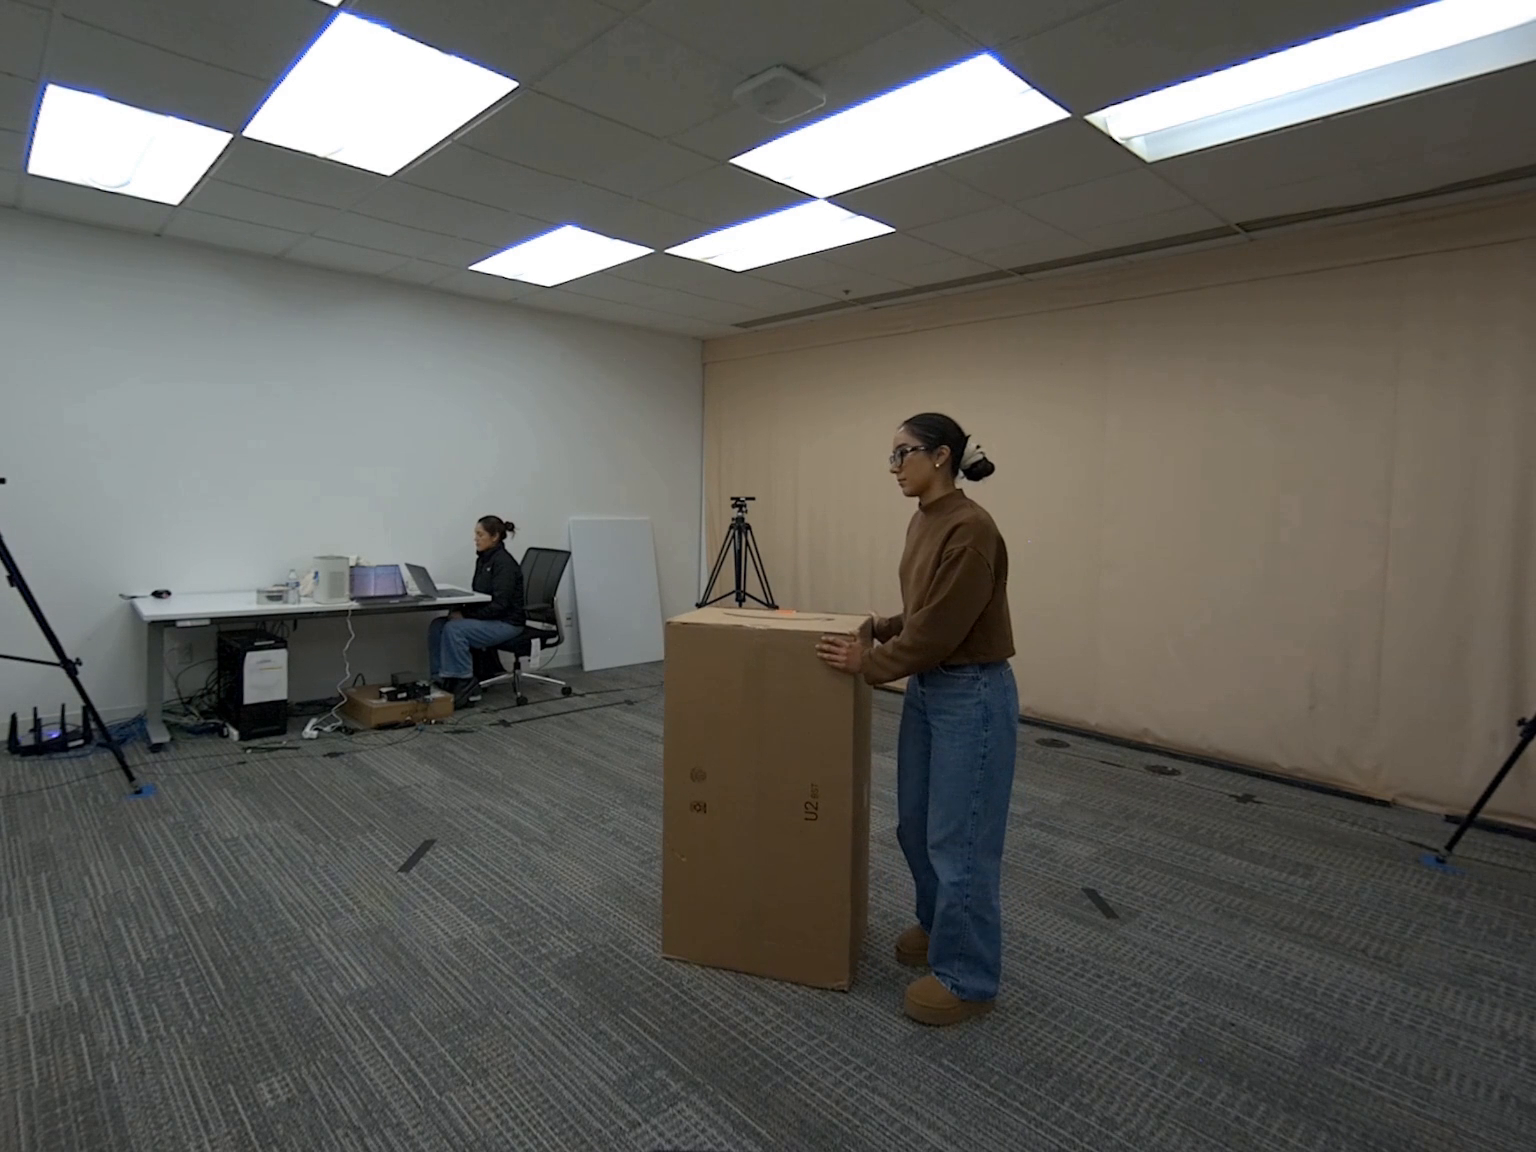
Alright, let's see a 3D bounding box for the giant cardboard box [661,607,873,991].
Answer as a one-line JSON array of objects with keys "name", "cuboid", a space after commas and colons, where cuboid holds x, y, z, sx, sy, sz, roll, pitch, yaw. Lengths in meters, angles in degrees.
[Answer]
[{"name": "giant cardboard box", "cuboid": [0.009, 0.644, 2.646, 0.585, 1.024, 0.421, 2, 2, 17]}]
